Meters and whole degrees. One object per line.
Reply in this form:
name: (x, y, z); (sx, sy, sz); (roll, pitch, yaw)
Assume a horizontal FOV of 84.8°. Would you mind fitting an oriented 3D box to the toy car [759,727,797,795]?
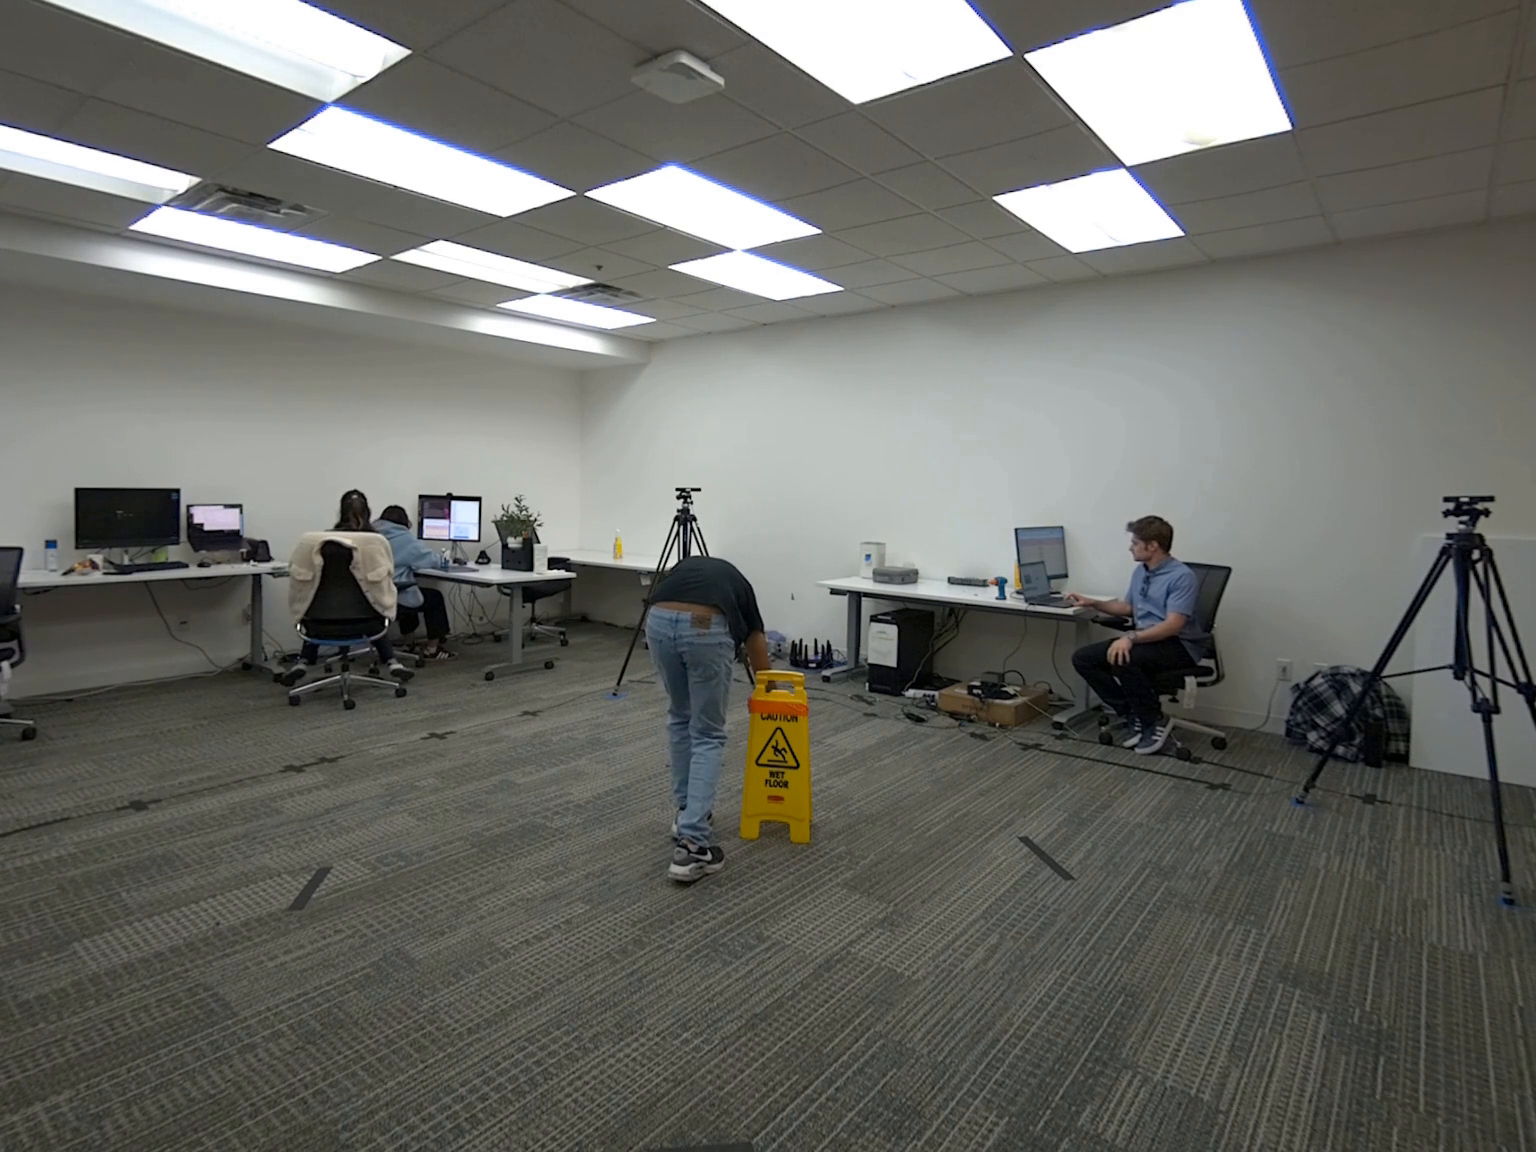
toy car: (0.040, 0.797, 3.636); (0.131, 0.251, 0.083); (7, 15, 6)
